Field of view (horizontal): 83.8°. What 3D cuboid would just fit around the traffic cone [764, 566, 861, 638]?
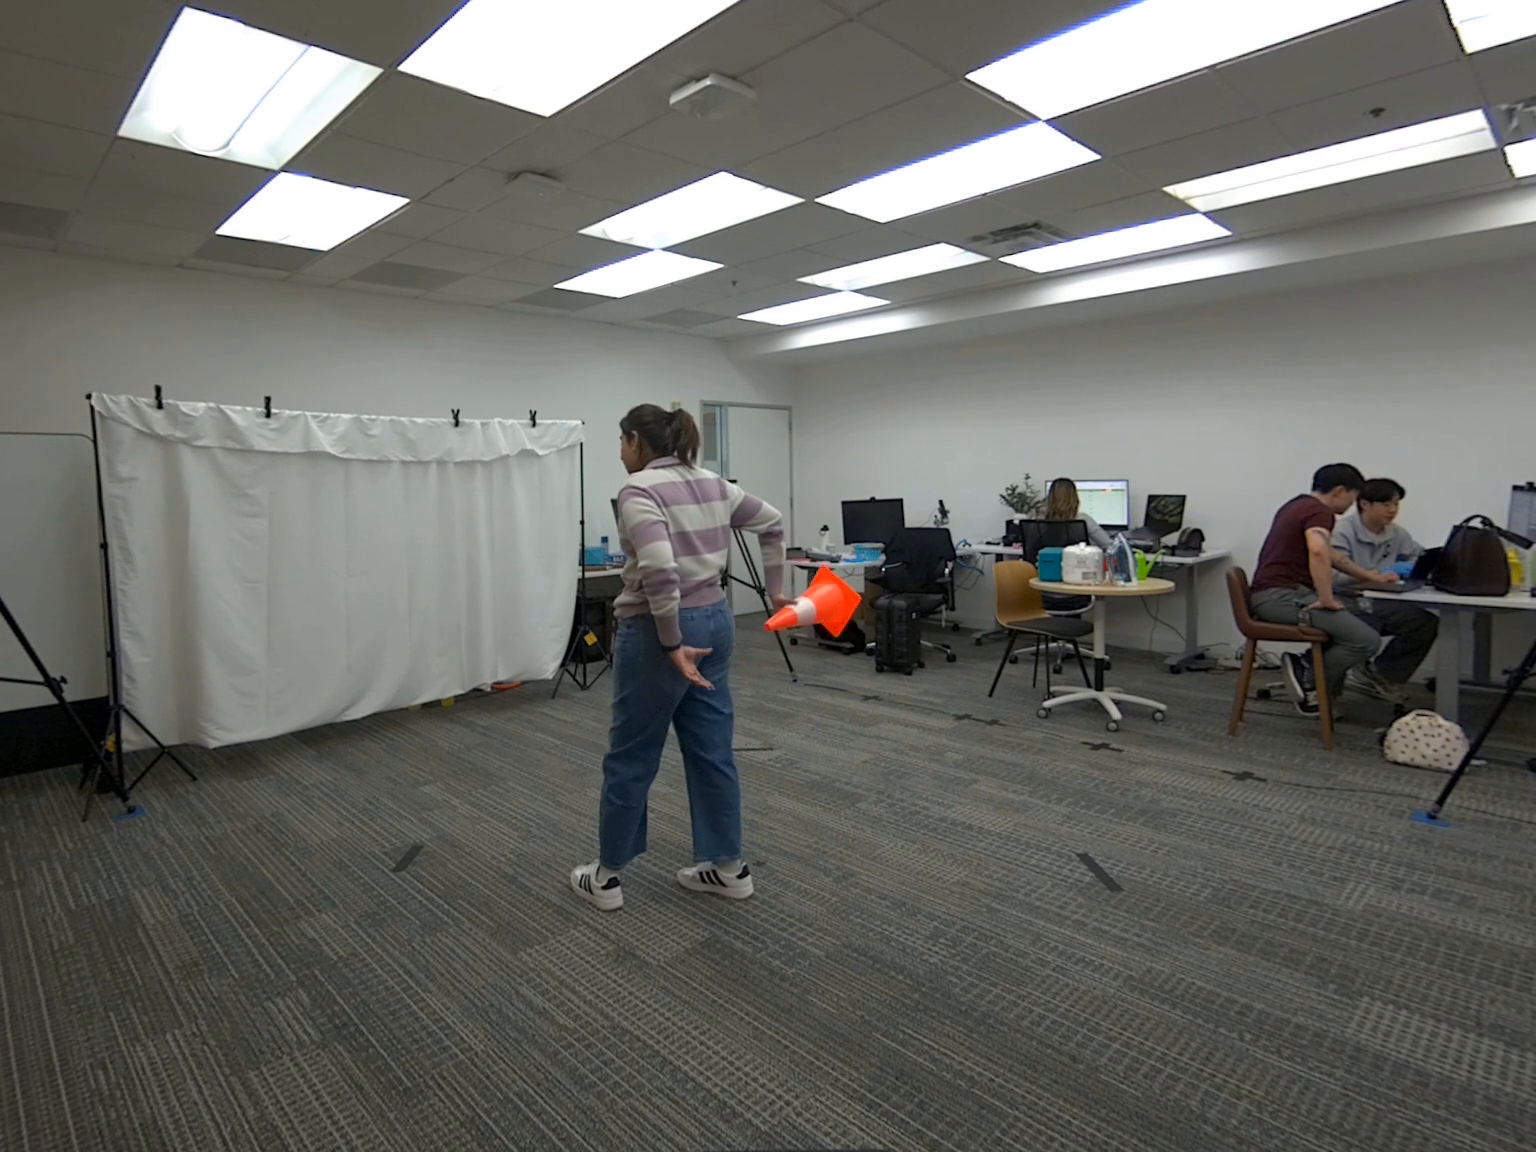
[{"bbox_3d":[0.110,0.131,2.981,0.209,0.203,0.376,41,33,22],"label":"traffic cone"}]
